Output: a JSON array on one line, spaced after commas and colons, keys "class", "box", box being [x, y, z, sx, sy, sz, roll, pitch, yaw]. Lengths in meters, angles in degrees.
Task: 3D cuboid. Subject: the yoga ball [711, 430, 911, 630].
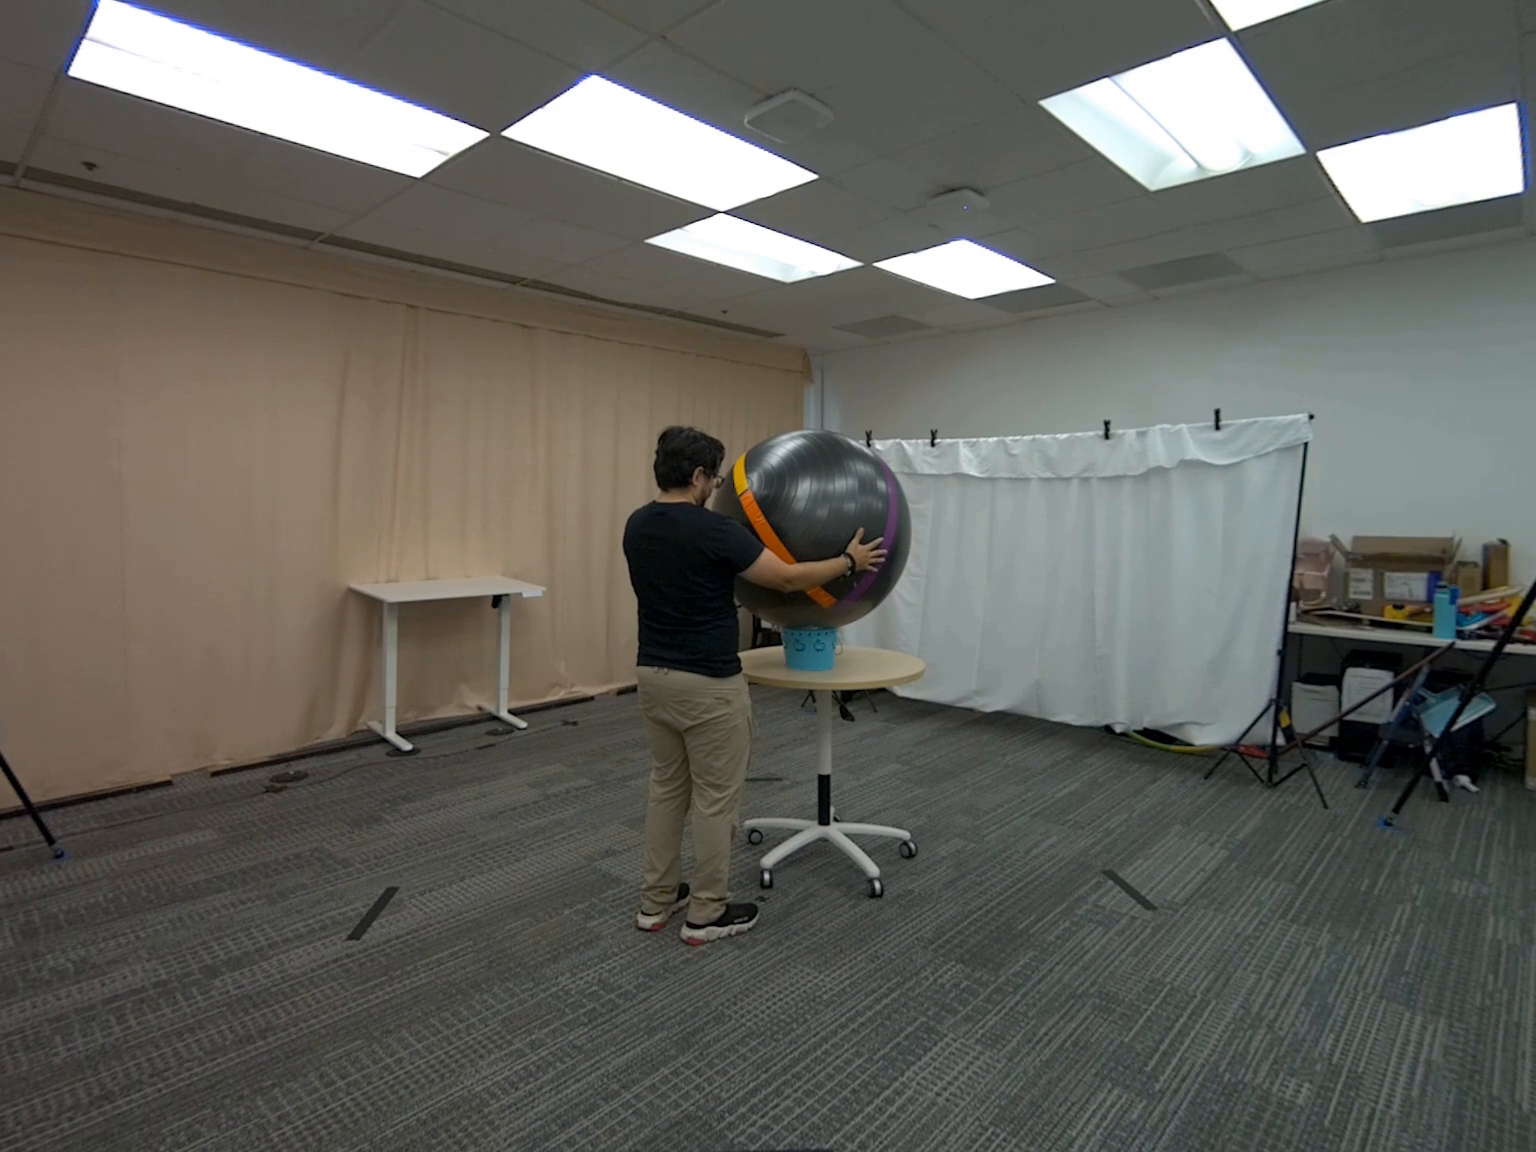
[{"class": "yoga ball", "box": [0.157, -0.167, 3.178, 0.757, 0.756, 0.760, 0, 4, -2]}]
